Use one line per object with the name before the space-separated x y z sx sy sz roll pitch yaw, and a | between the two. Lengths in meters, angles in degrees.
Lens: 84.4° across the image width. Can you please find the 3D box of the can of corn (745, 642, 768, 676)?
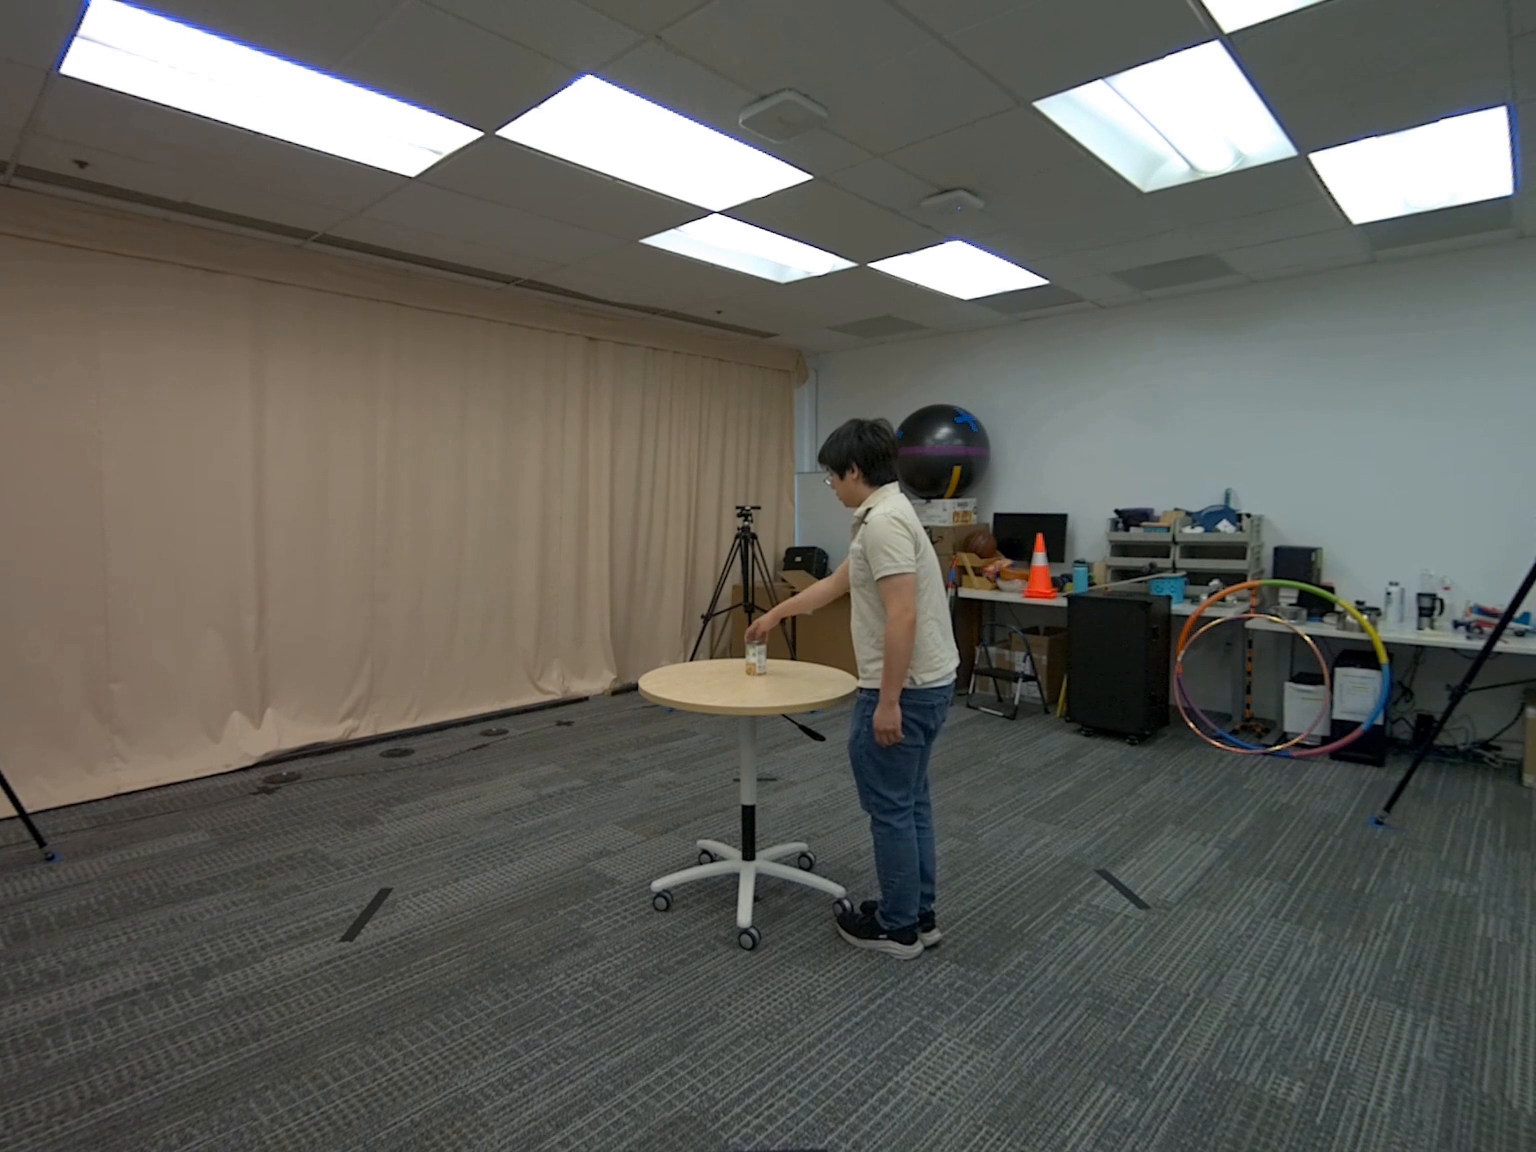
can of corn | -0.039 0.300 3.048 0.074 0.111 0.074 1 3 -2
